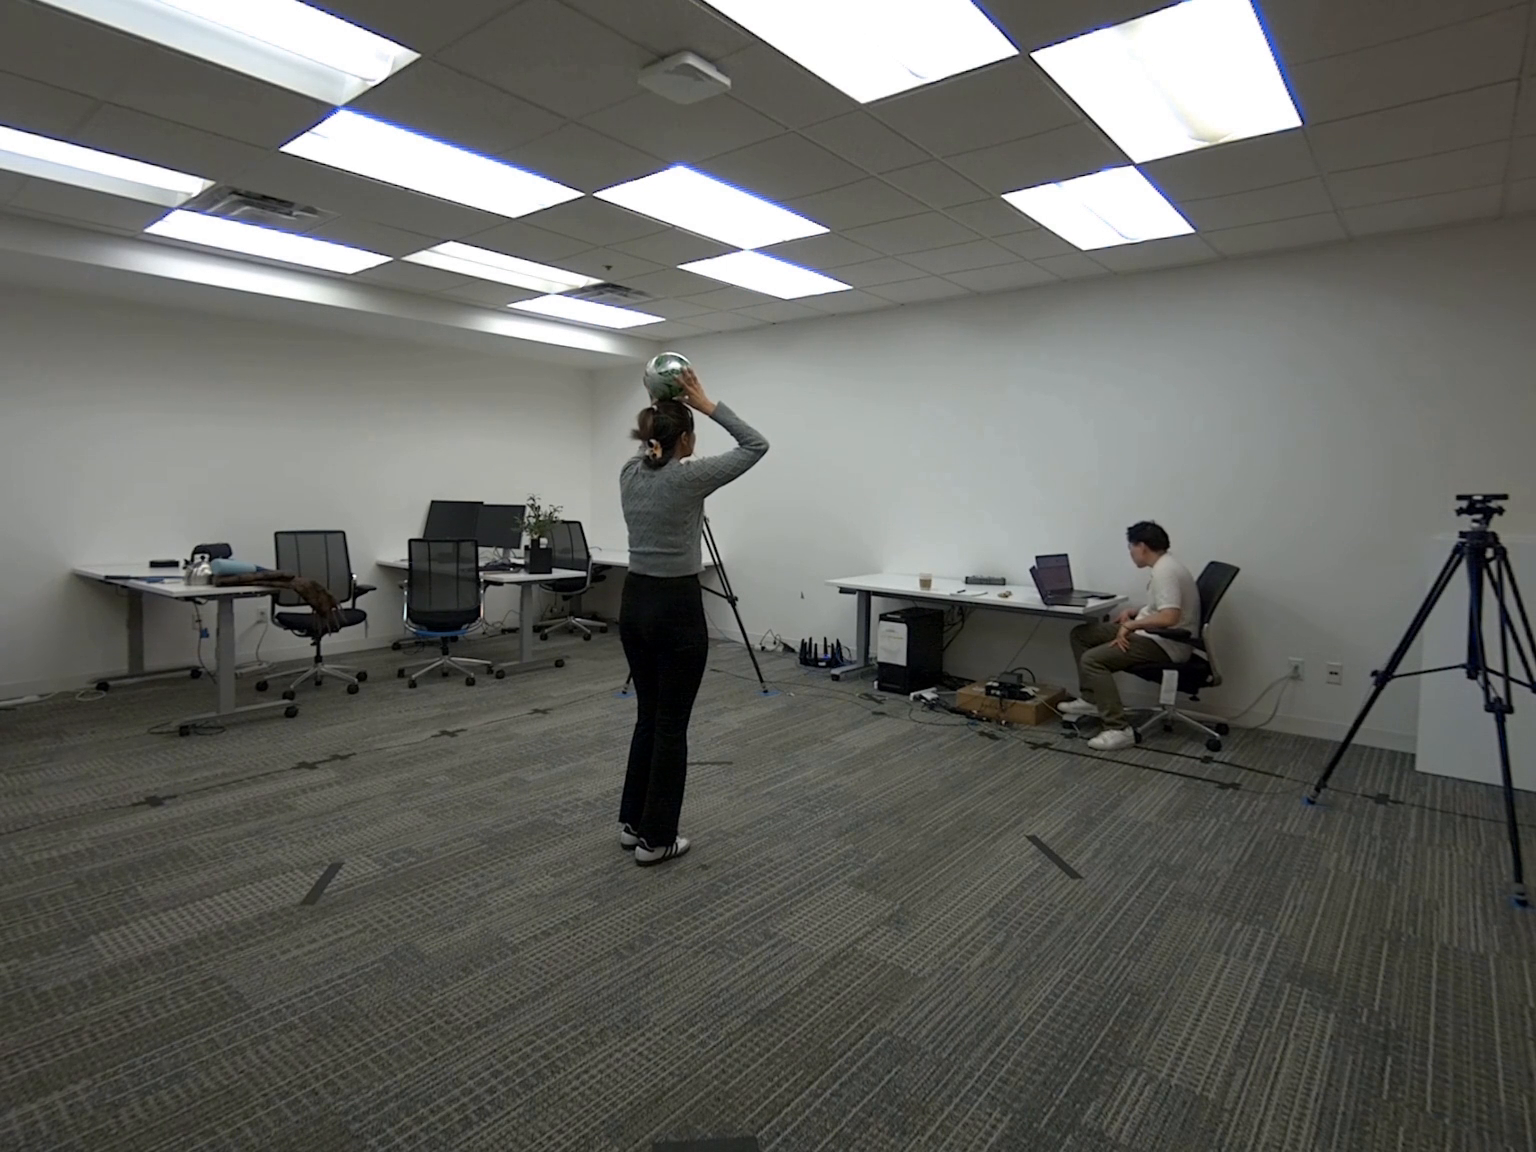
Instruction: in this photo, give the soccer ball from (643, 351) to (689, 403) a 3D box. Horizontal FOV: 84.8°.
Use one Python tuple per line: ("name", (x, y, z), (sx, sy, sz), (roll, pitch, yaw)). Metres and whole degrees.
("soccer ball", (-0.382, -0.753, 3.215), (0.187, 0.187, 0.188), (1, 4, -2))
